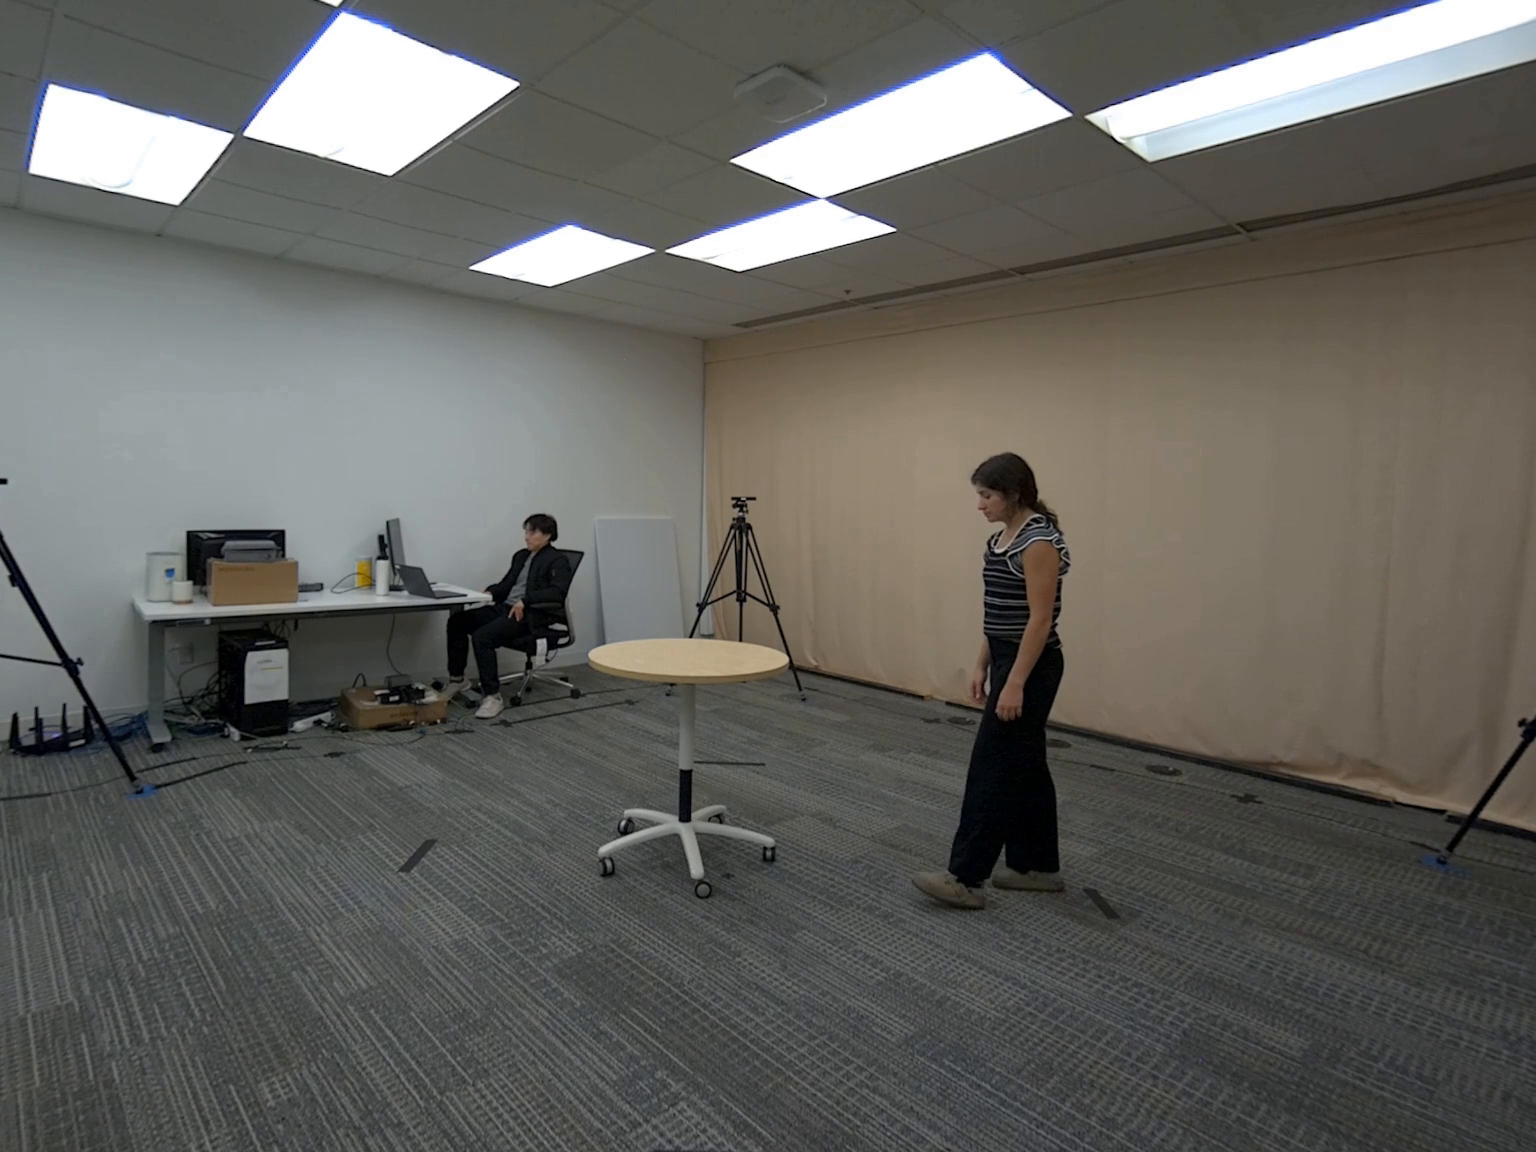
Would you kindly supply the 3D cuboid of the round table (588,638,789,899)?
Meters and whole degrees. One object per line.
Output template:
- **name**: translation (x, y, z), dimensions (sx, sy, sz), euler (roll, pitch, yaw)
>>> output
- **round table**: translation (-0.319, 0.693, 3.231), dimensions (0.784, 0.785, 0.787), euler (2, 4, -1)
